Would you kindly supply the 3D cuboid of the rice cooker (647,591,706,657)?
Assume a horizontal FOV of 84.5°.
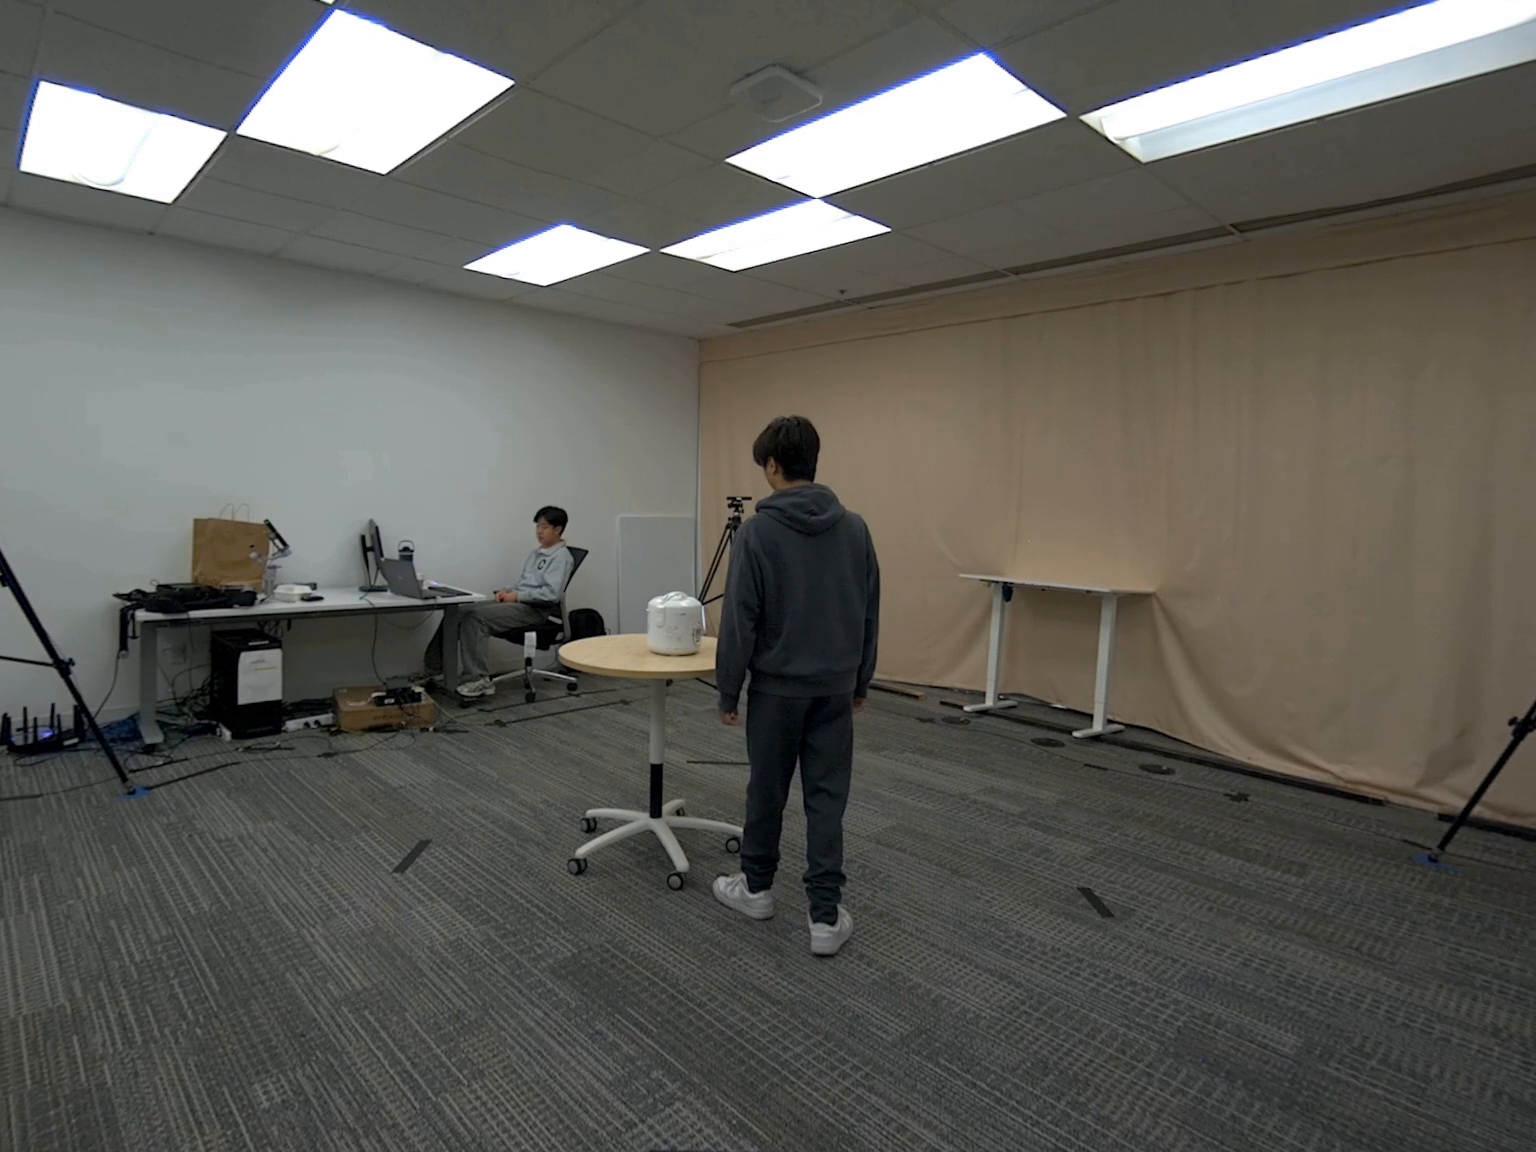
[{"bbox_3d":[-0.363,0.178,3.231,0.222,0.232,0.216,4,4,29],"label":"rice cooker"}]
